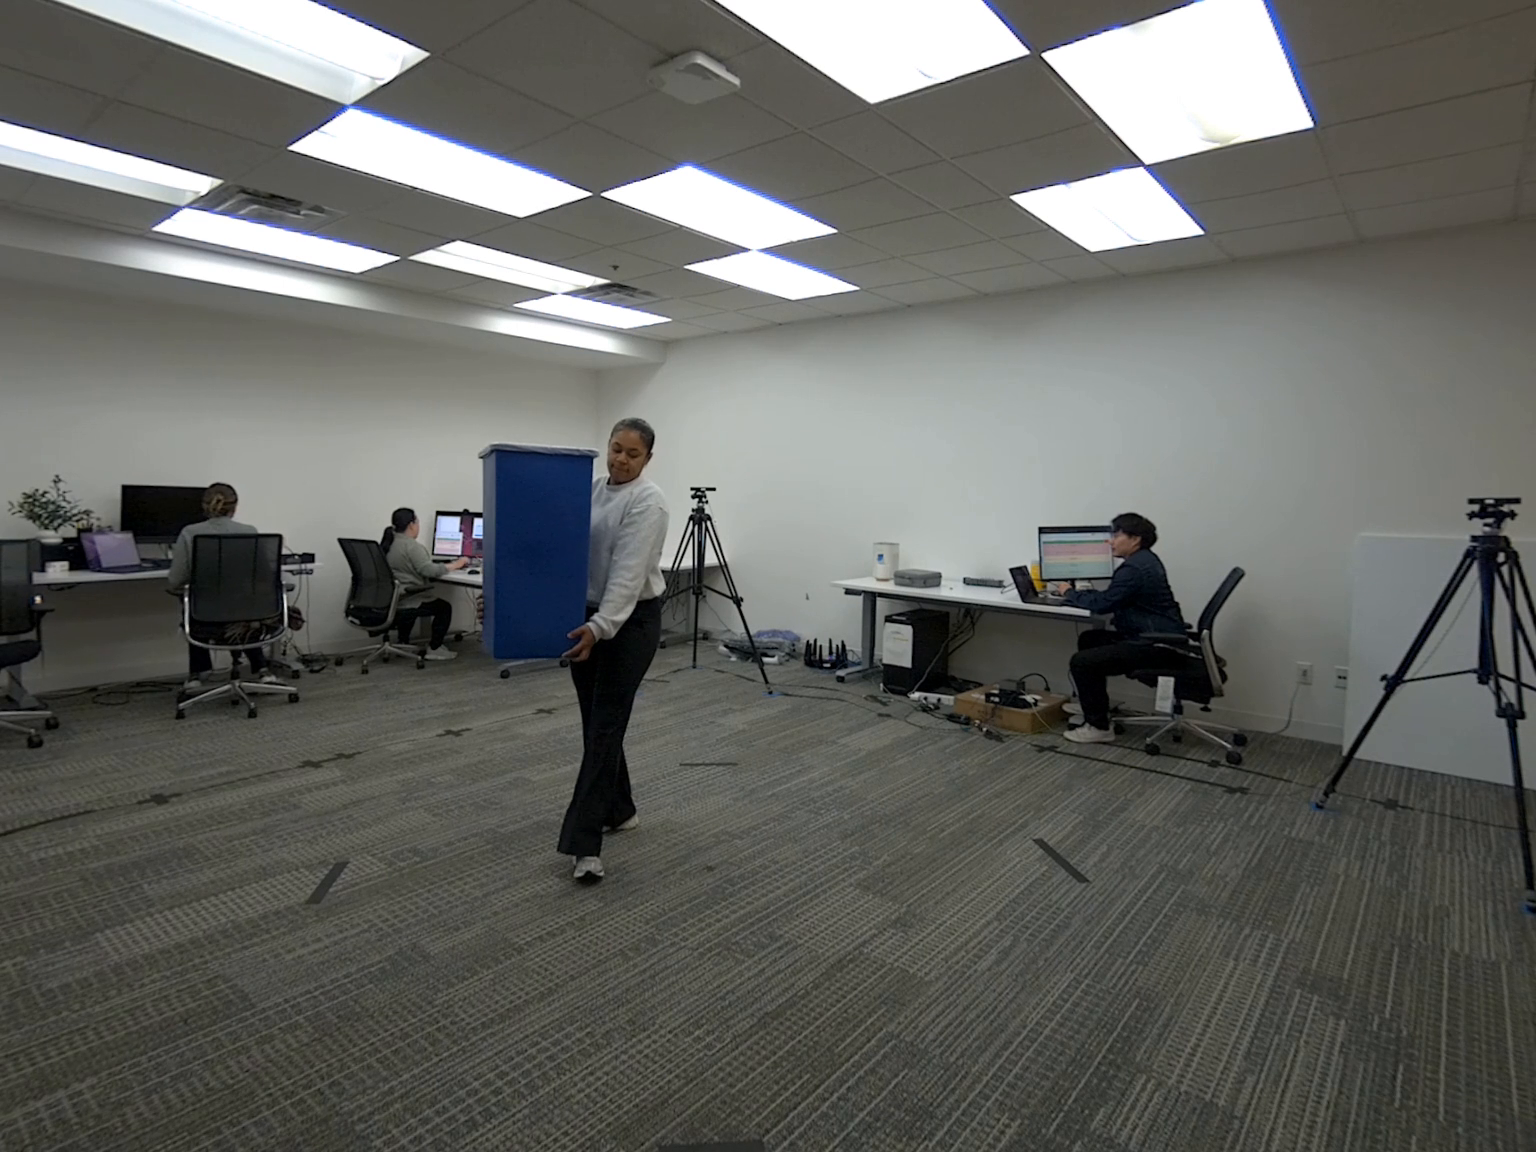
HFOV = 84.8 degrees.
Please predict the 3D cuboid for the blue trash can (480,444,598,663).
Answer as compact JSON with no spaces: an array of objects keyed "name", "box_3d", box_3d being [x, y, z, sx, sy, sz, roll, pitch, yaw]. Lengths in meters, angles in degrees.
[{"name":"blue trash can","box_3d":[-0.844,-0.095,3.001,0.368,0.714,0.383,2,0,-26]}]
